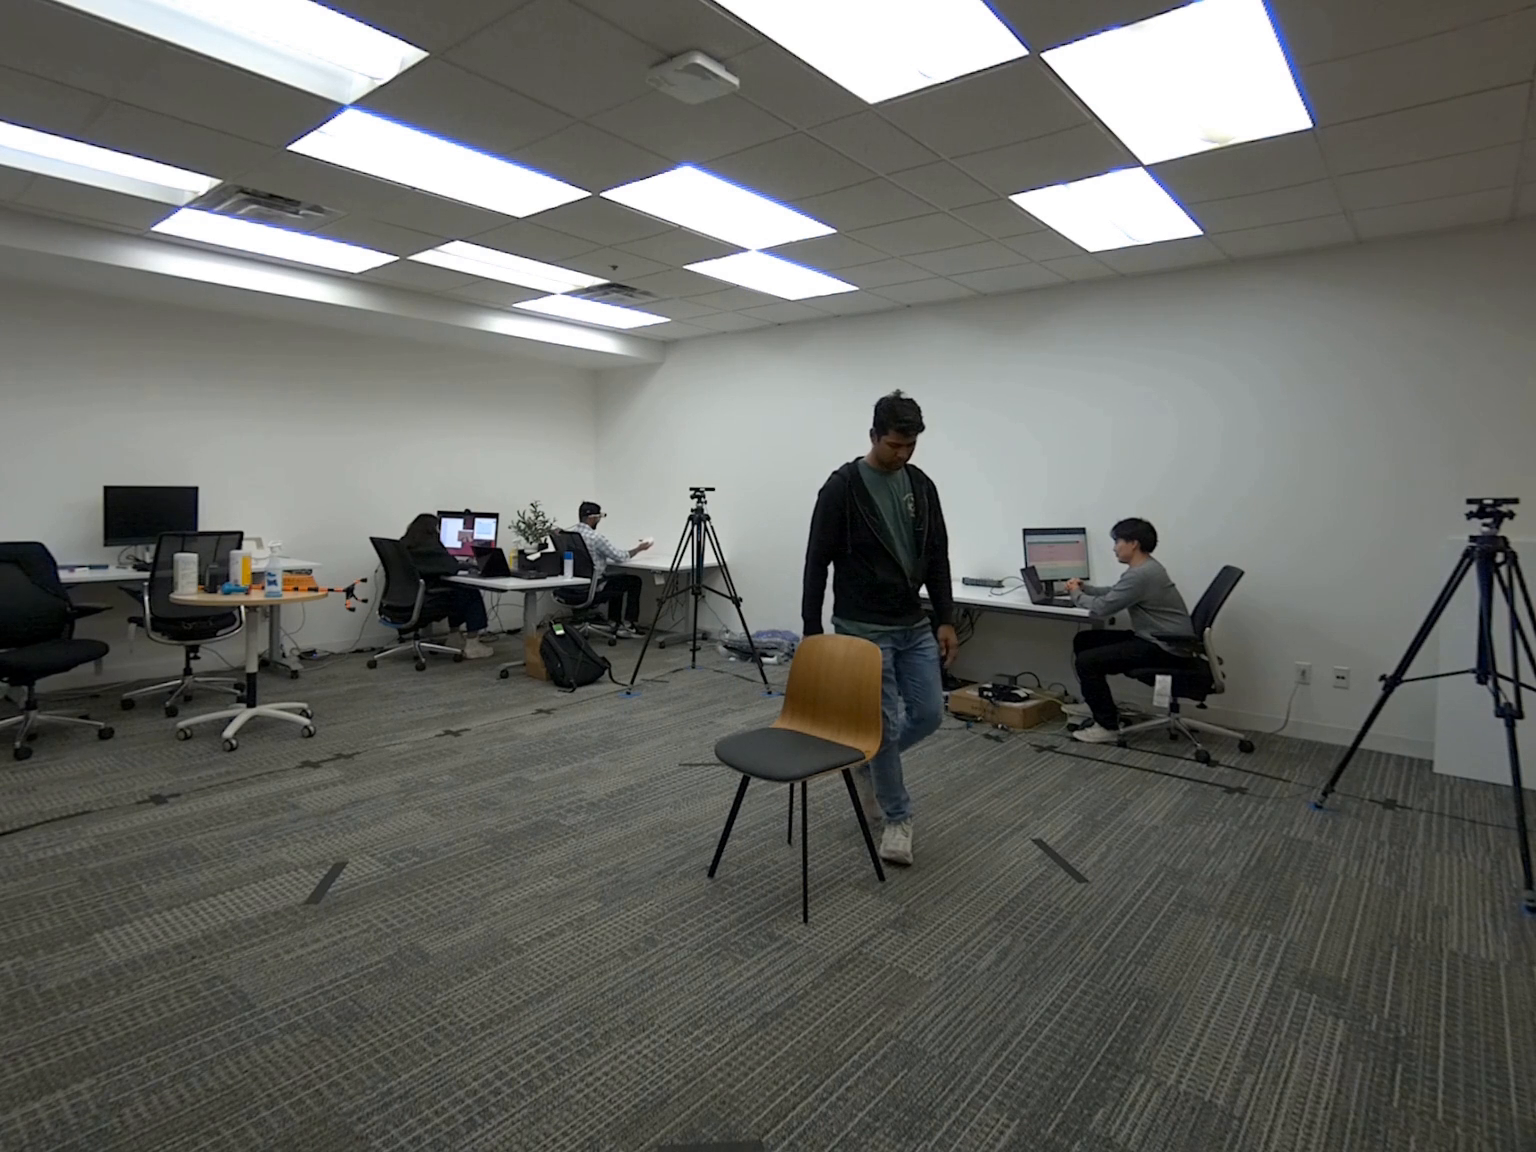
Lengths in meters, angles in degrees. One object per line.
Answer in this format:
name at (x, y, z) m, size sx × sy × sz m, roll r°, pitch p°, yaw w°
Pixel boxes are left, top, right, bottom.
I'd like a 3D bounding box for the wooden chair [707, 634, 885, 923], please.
wooden chair at (0.097, 0.656, 3.008) m, size 0.494 × 0.877 × 0.505 m, roll 5°, pitch 1°, yaw 43°
